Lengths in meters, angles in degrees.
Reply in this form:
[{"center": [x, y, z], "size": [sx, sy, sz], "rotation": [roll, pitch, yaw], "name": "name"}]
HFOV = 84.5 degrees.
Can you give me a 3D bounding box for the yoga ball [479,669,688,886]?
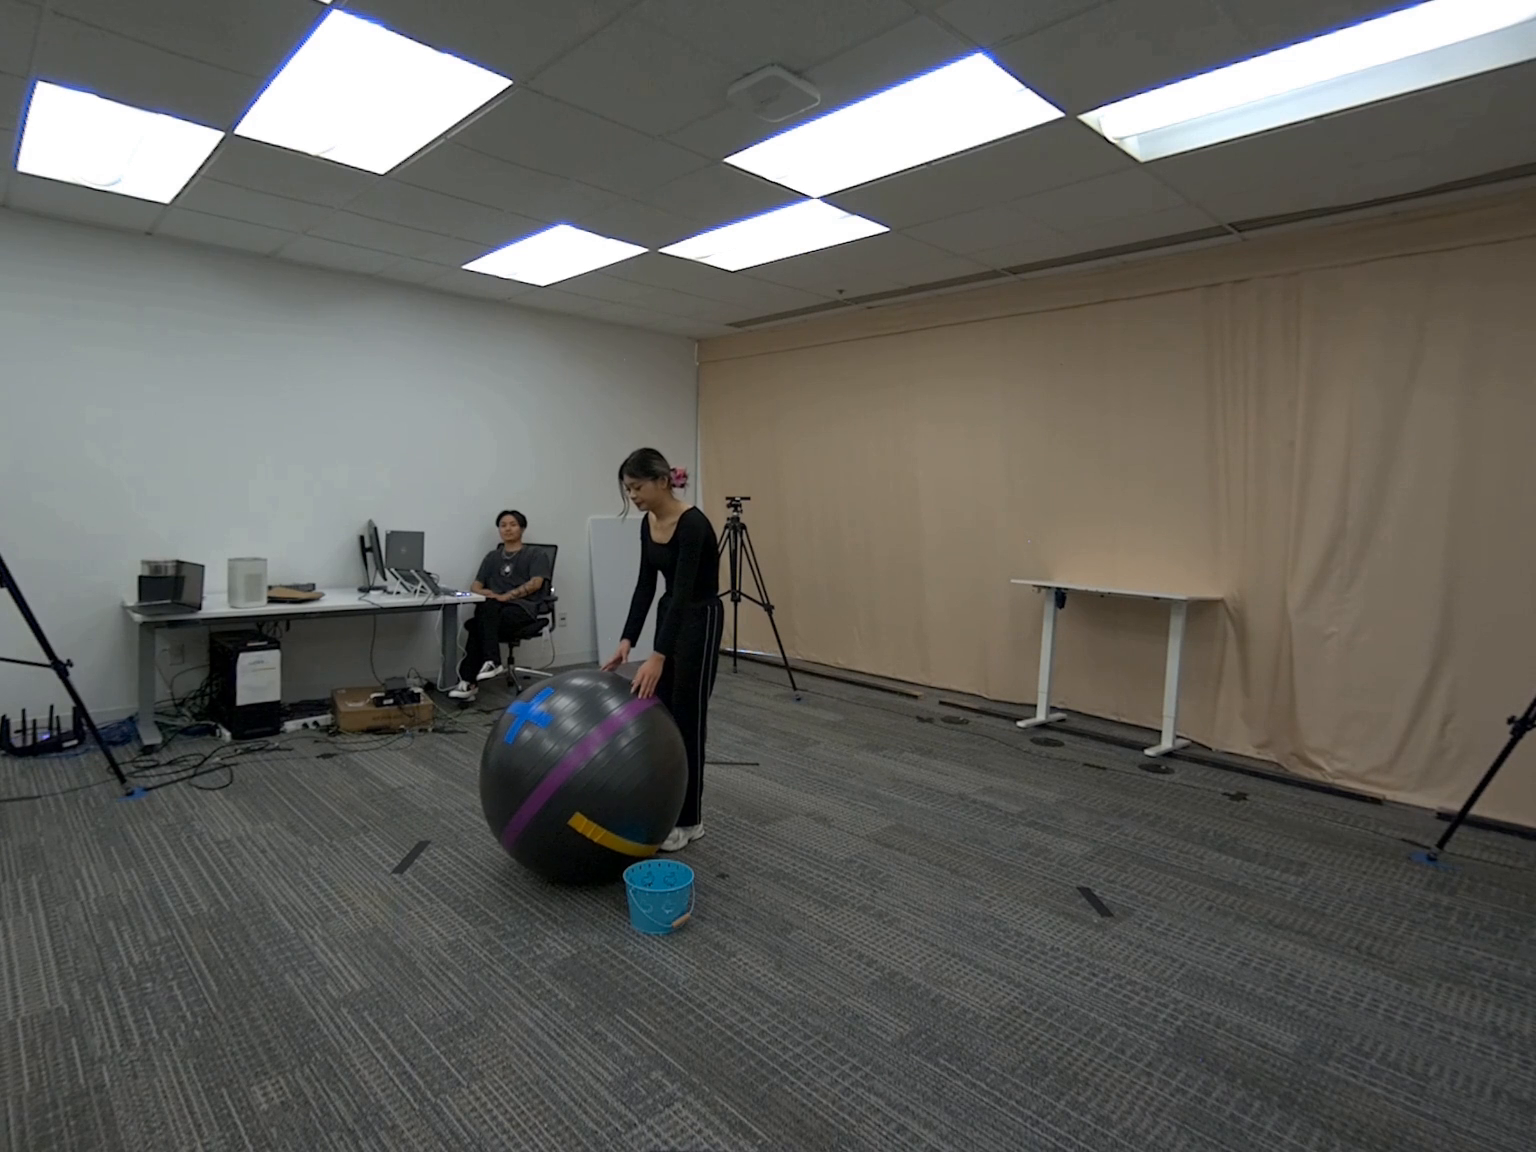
[{"center": [-0.694, 0.739, 3.101], "size": [0.757, 0.756, 0.761], "rotation": [1, 4, -1], "name": "yoga ball"}]
